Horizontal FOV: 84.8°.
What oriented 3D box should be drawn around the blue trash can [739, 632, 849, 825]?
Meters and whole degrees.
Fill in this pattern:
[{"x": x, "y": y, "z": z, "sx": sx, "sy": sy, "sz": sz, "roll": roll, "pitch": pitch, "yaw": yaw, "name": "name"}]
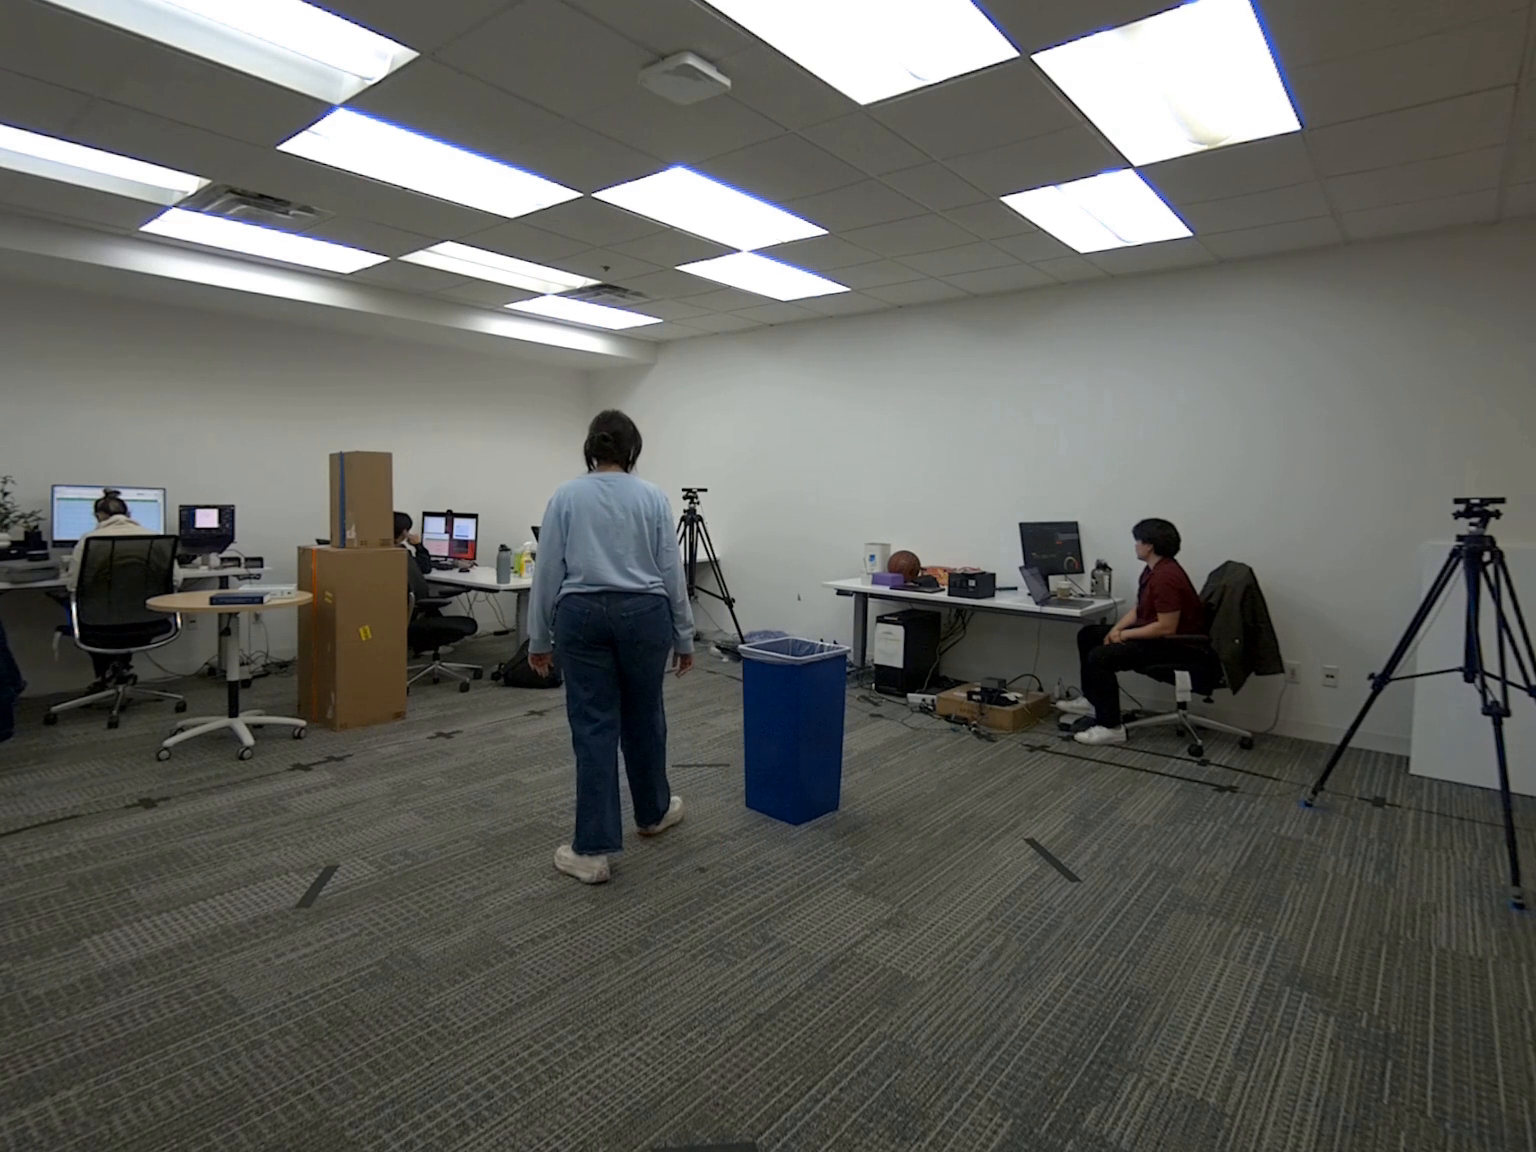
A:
[{"x": 0.095, "y": 0.659, "z": 3.725, "sx": 0.387, "sy": 0.711, "sz": 0.367, "roll": 5, "pitch": 6, "yaw": 43, "name": "blue trash can"}]
